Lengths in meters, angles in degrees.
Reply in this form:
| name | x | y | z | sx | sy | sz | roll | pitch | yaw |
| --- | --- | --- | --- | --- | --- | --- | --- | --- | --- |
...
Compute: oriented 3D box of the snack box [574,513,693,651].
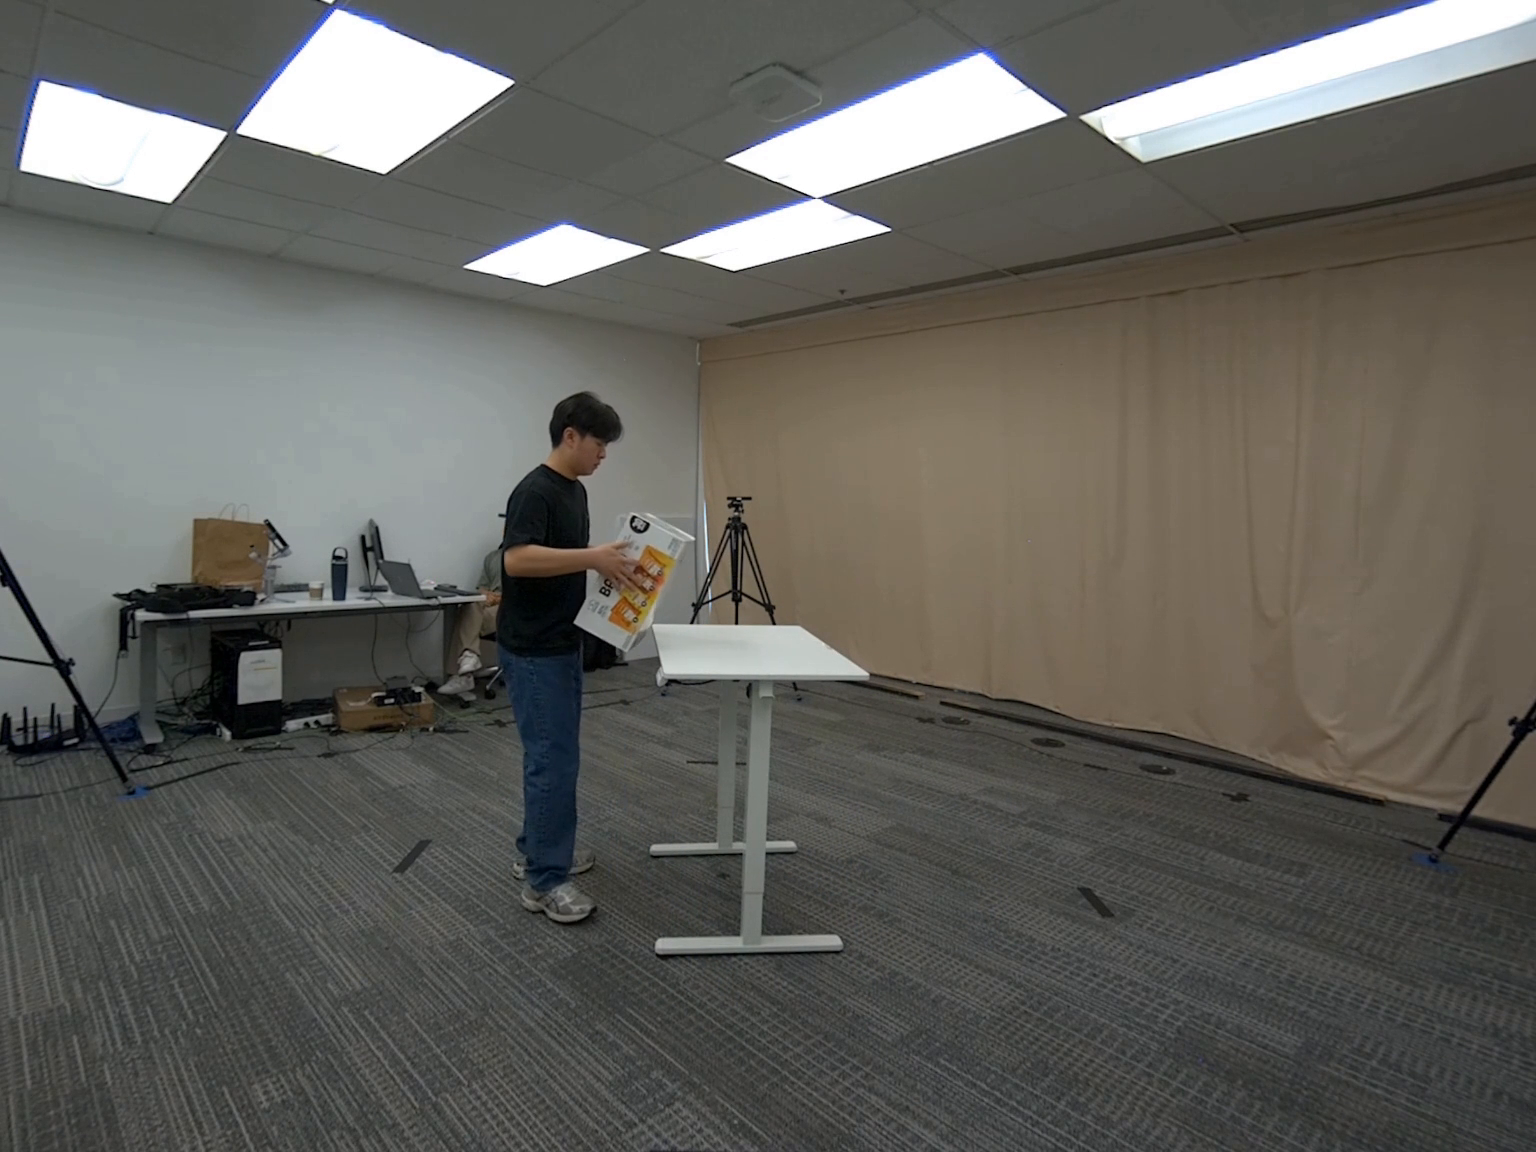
| name | x | y | z | sx | sy | sz | roll | pitch | yaw |
| --- | --- | --- | --- | --- | --- | --- | --- | --- | --- |
| snack box | -0.442 | 0.013 | 2.859 | 0.205 | 0.405 | 0.341 | 28 | 3 | -2 |
